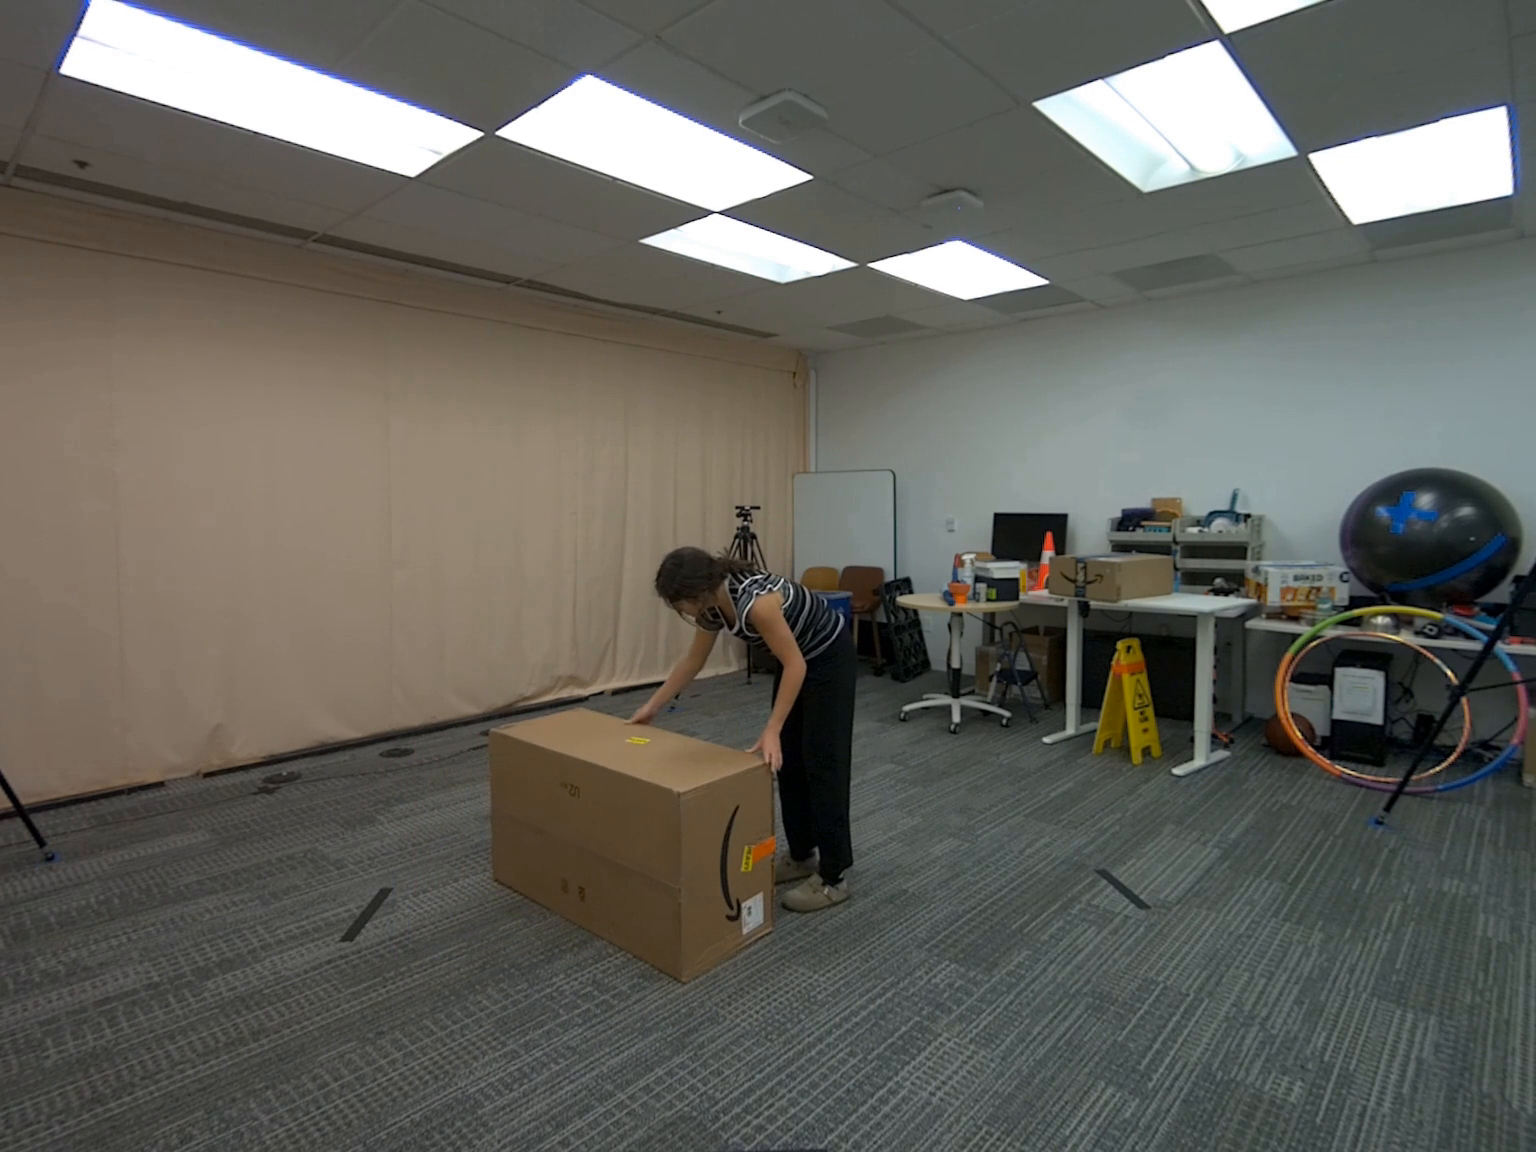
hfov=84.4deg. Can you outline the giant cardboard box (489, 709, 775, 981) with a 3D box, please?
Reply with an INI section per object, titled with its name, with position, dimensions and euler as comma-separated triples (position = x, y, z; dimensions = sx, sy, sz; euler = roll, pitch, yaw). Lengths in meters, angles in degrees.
[giant cardboard box]
position = -0.509, 0.862, 2.944
dimensions = 1.060, 0.576, 0.413
euler = 4, 5, 42
